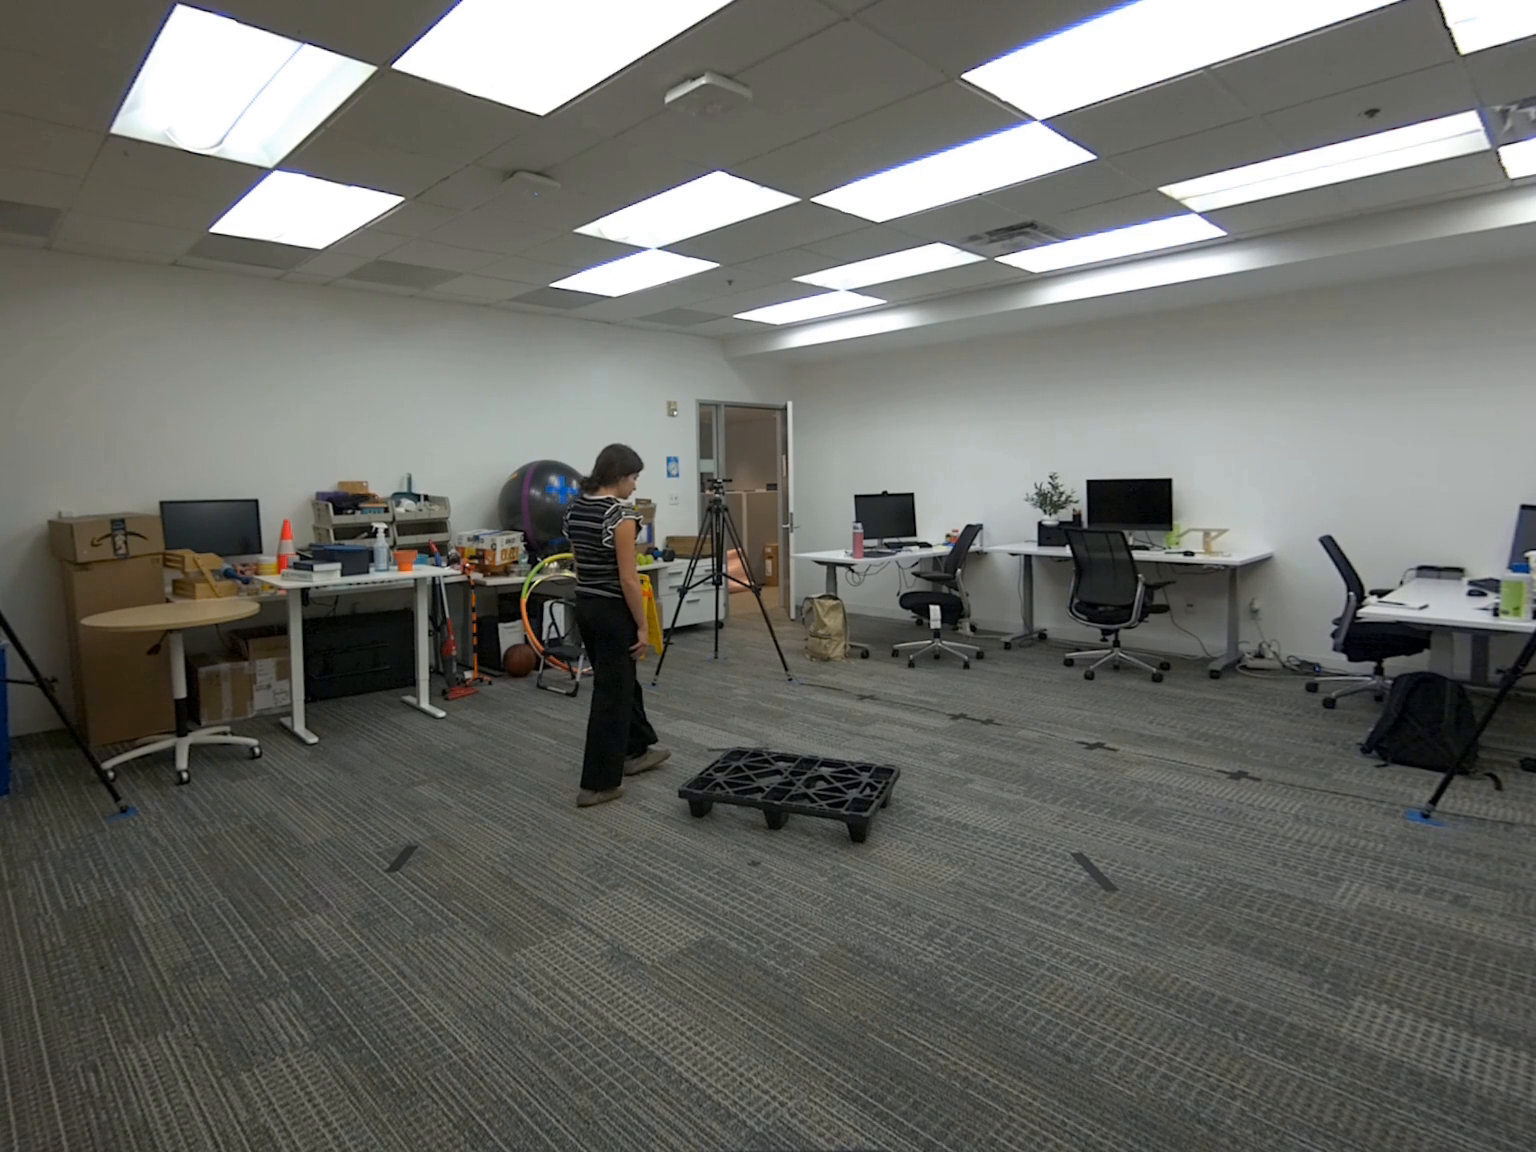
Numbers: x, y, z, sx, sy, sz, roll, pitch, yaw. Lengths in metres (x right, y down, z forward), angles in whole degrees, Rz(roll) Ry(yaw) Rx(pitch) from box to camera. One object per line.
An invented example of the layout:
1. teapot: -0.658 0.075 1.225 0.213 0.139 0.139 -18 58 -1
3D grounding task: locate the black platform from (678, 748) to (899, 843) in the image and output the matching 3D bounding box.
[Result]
1. black platform: 0.107 0.917 3.609 0.823 0.142 0.595 1 7 22
